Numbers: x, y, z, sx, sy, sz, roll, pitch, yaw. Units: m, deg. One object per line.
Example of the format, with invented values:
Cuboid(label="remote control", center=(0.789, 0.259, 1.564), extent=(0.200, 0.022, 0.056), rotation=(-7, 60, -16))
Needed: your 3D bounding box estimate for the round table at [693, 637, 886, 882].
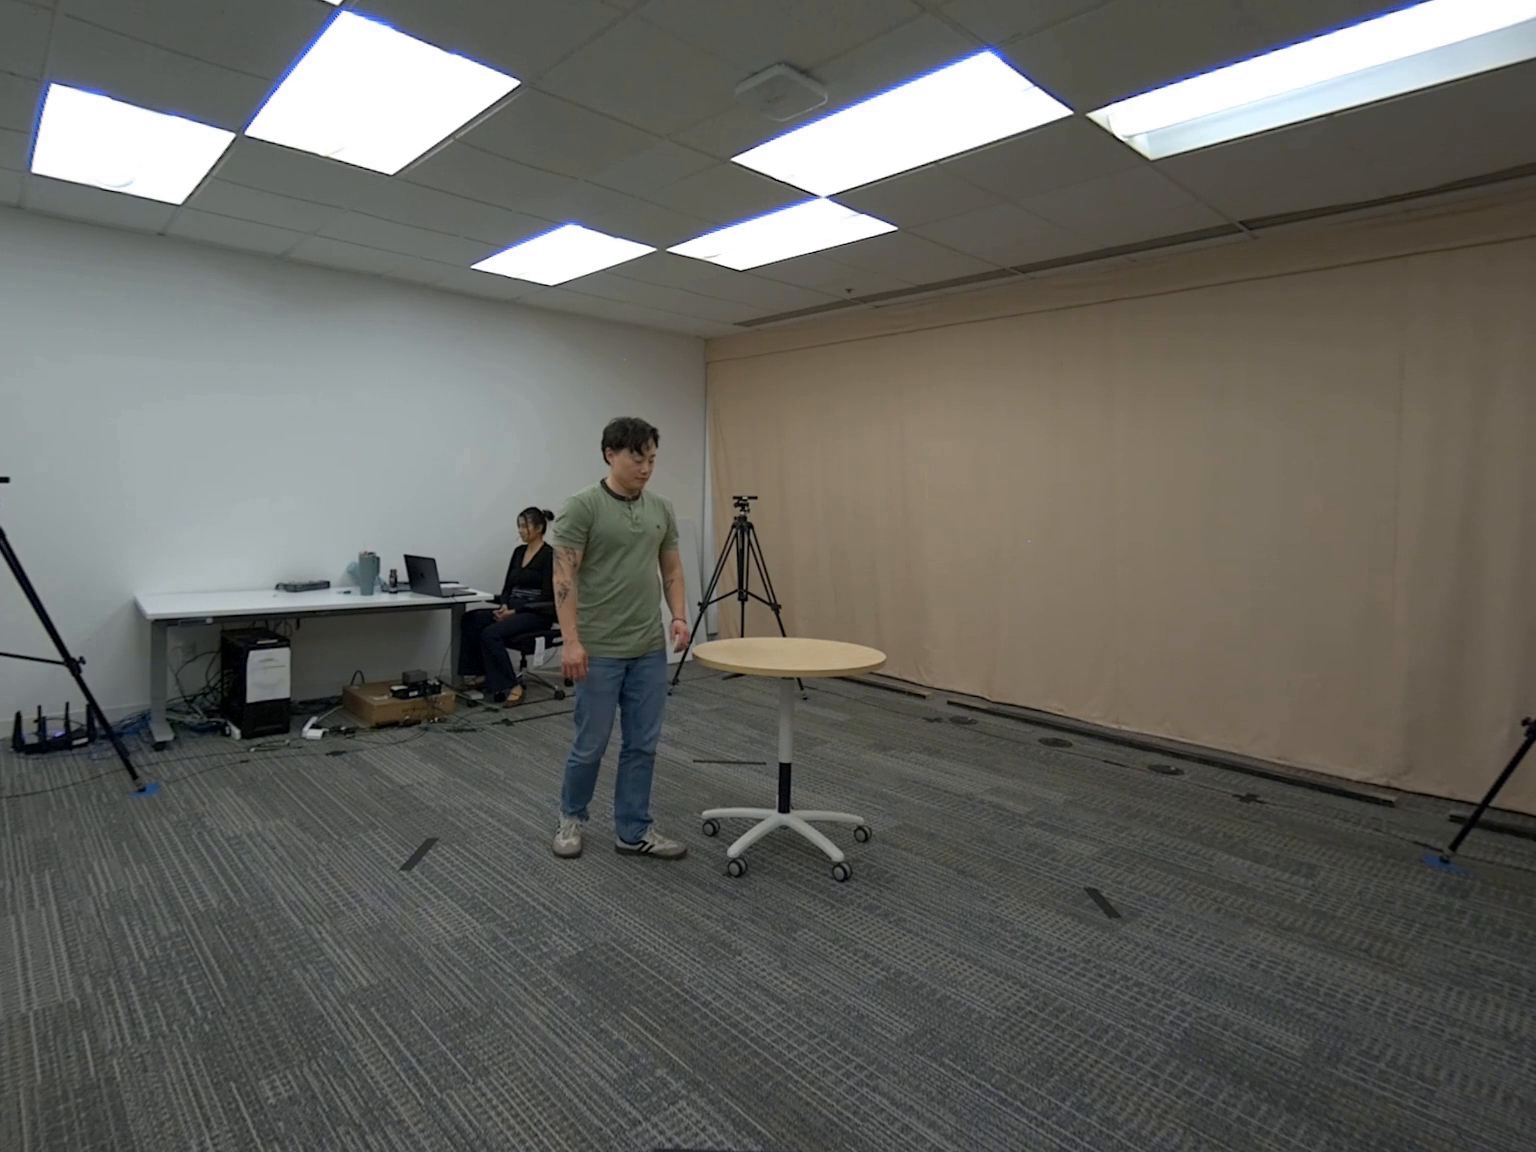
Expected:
Cuboid(label="round table", center=(0.062, 0.696, 3.353), extent=(0.763, 0.792, 0.766), rotation=(1, 3, -1))
